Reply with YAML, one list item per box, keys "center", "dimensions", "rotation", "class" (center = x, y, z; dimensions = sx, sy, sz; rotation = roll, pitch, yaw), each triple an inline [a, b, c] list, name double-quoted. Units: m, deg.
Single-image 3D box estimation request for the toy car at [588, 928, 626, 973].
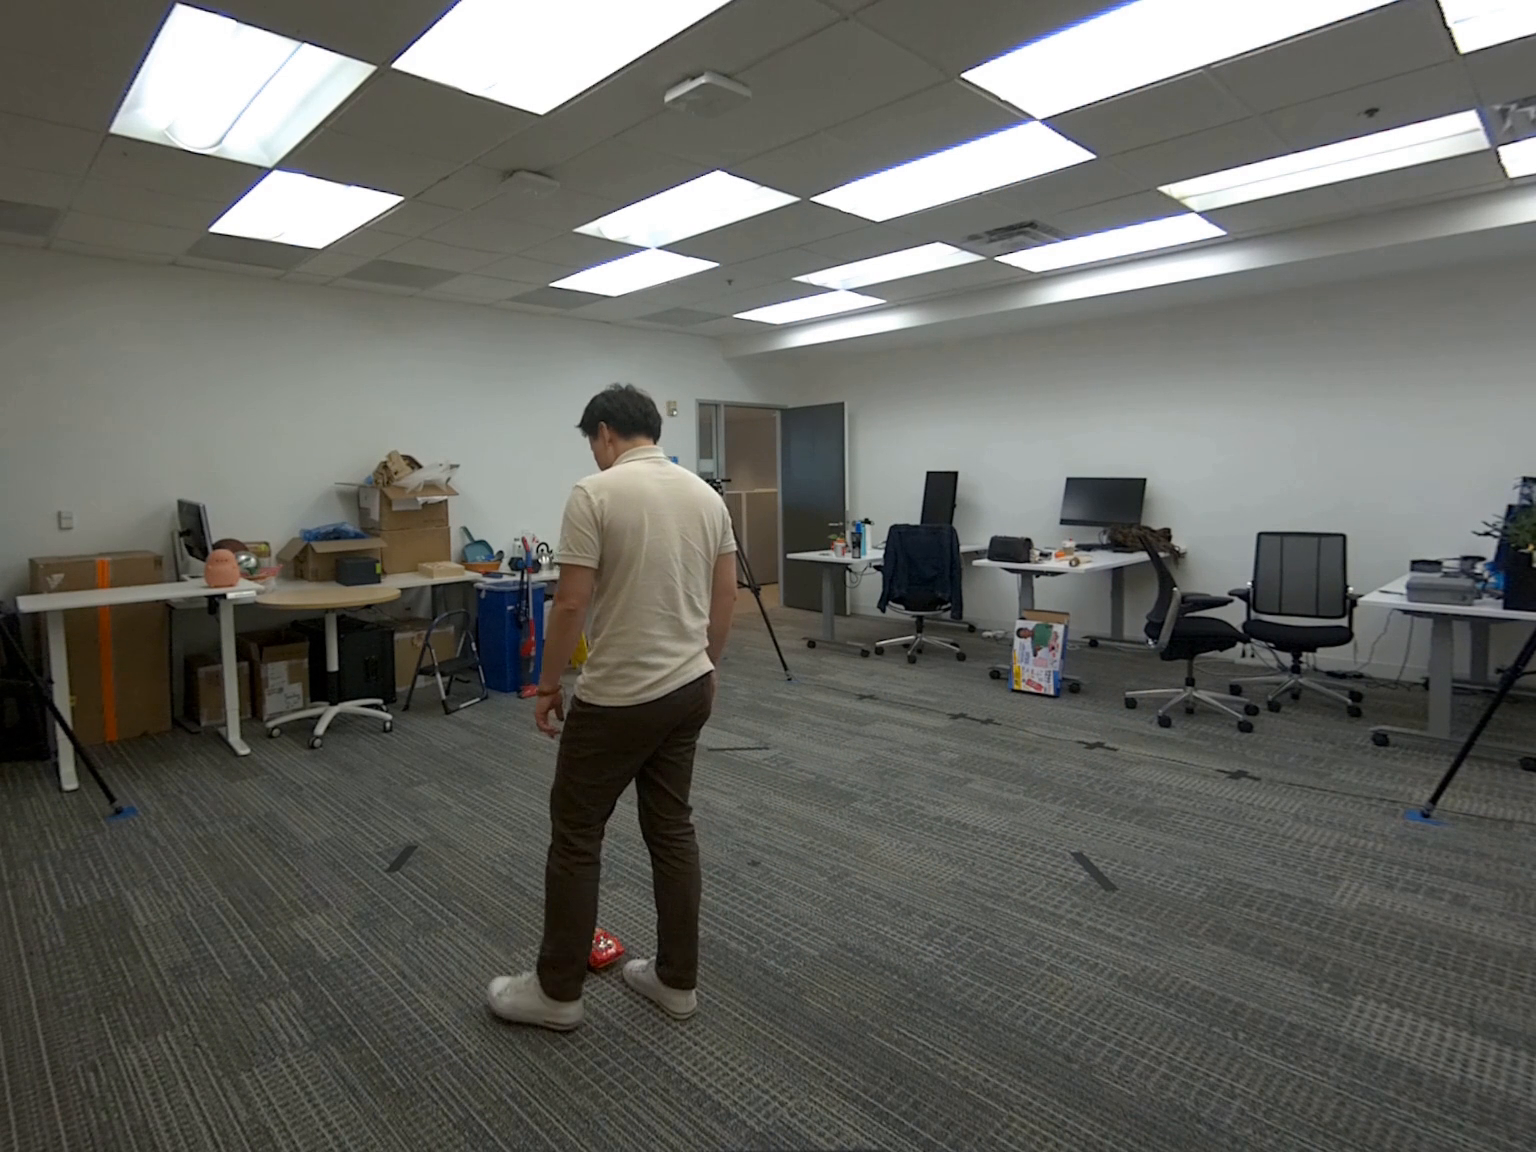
- center: [-0.519, 1.094, 2.522]
  dimensions: [0.127, 0.083, 0.260]
  rotation: [-6, -3, -42]
  class: "toy car"
